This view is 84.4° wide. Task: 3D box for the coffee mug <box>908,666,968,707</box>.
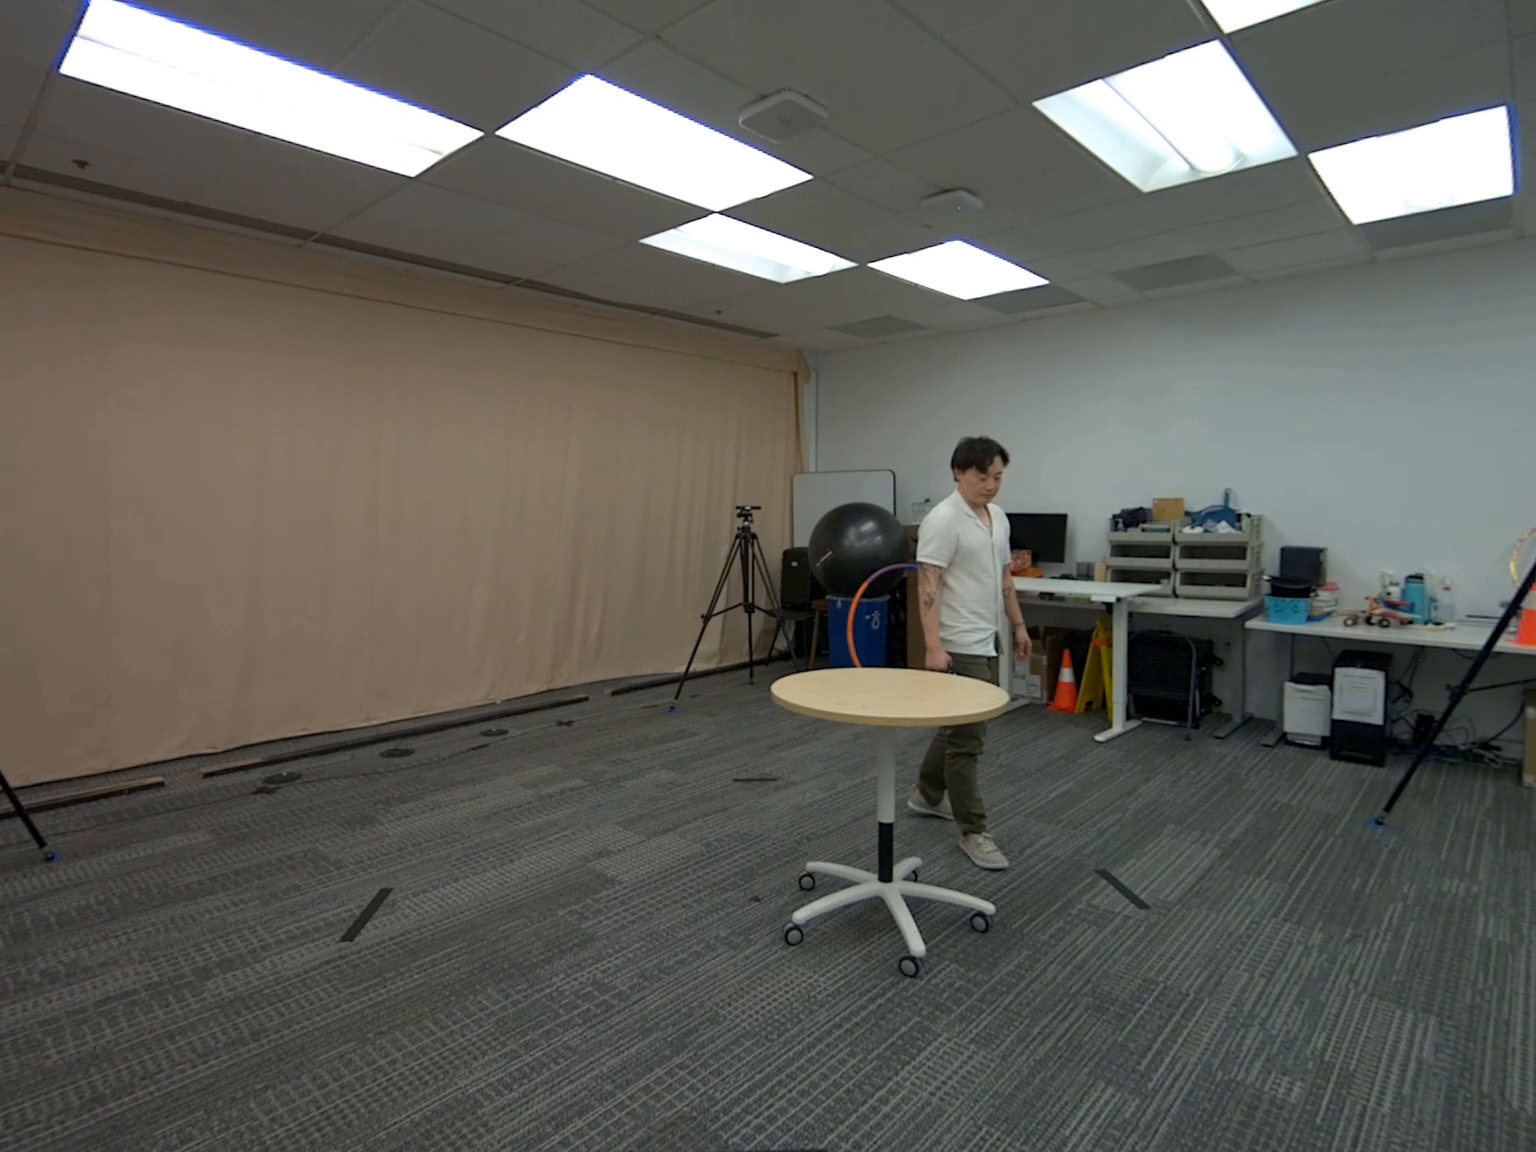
[{"bbox_3d":[0.662,0.415,3.301,0.086,0.122,0.207,34,-33,-21],"label":"coffee mug"}]
